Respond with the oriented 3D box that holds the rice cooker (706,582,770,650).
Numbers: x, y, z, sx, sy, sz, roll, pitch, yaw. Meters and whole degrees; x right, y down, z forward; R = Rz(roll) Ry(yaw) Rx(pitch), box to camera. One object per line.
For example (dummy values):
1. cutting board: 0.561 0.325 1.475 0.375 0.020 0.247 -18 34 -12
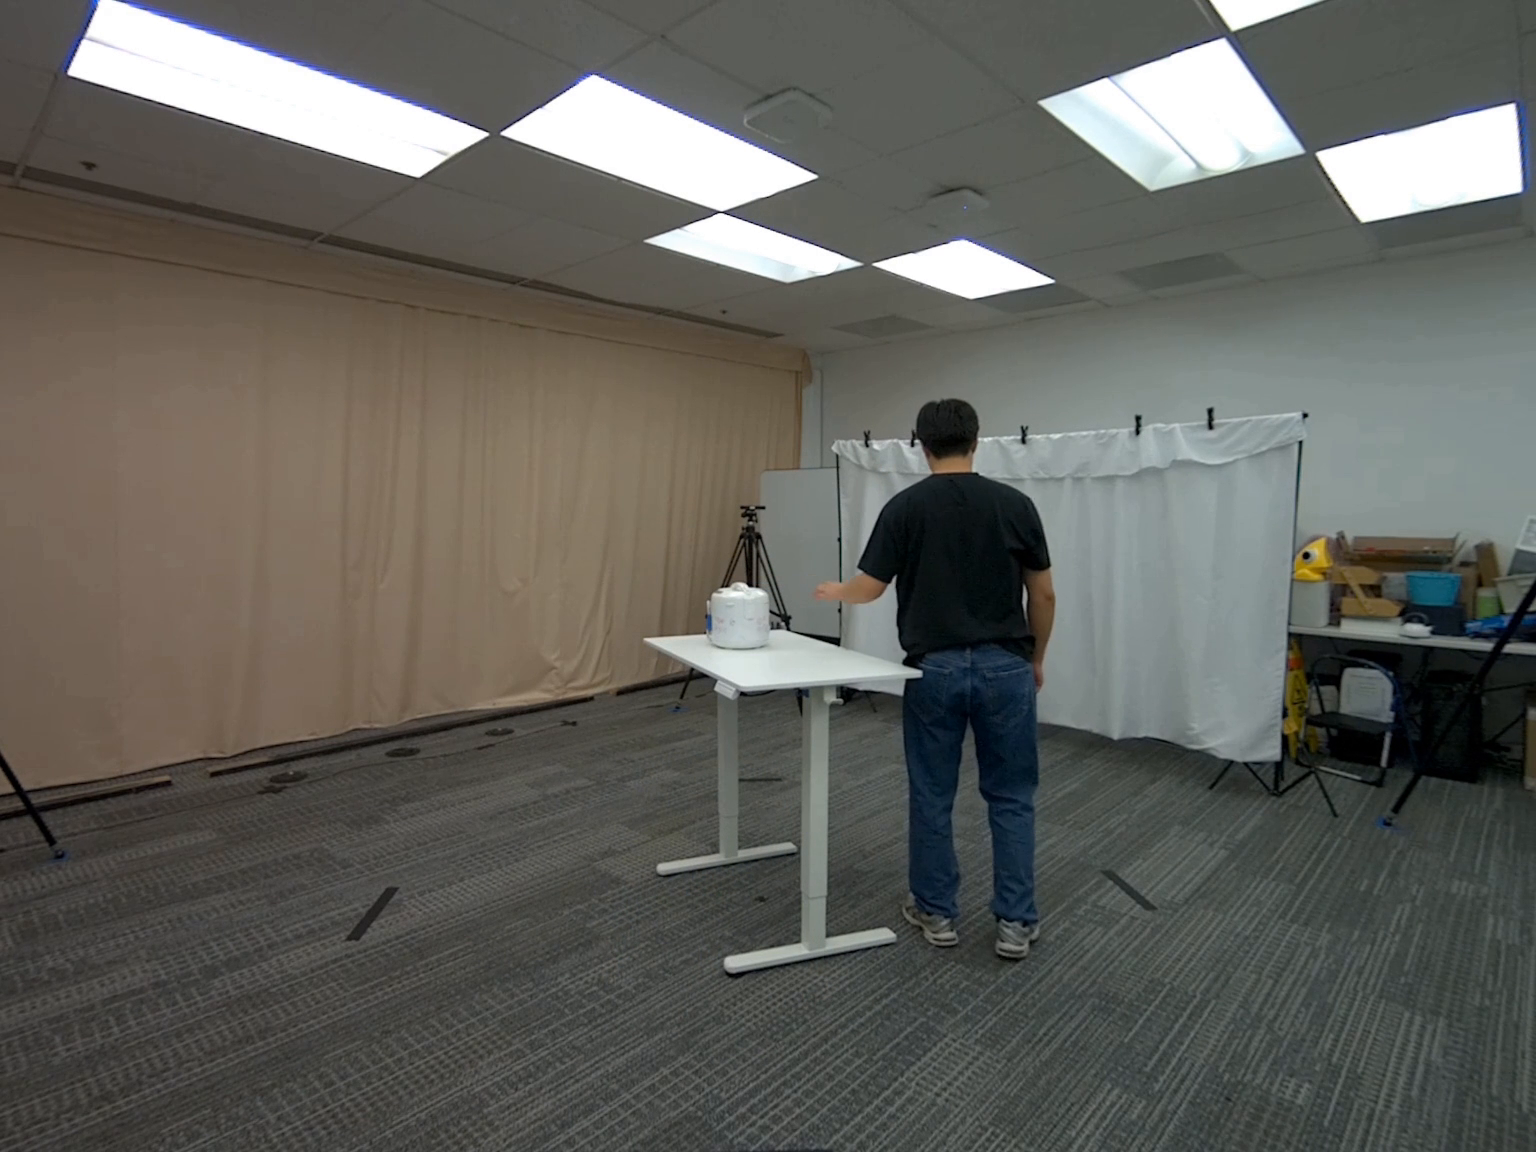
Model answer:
1. rice cooker: -0.099 0.139 3.062 0.213 0.232 0.225 -2 4 -19
